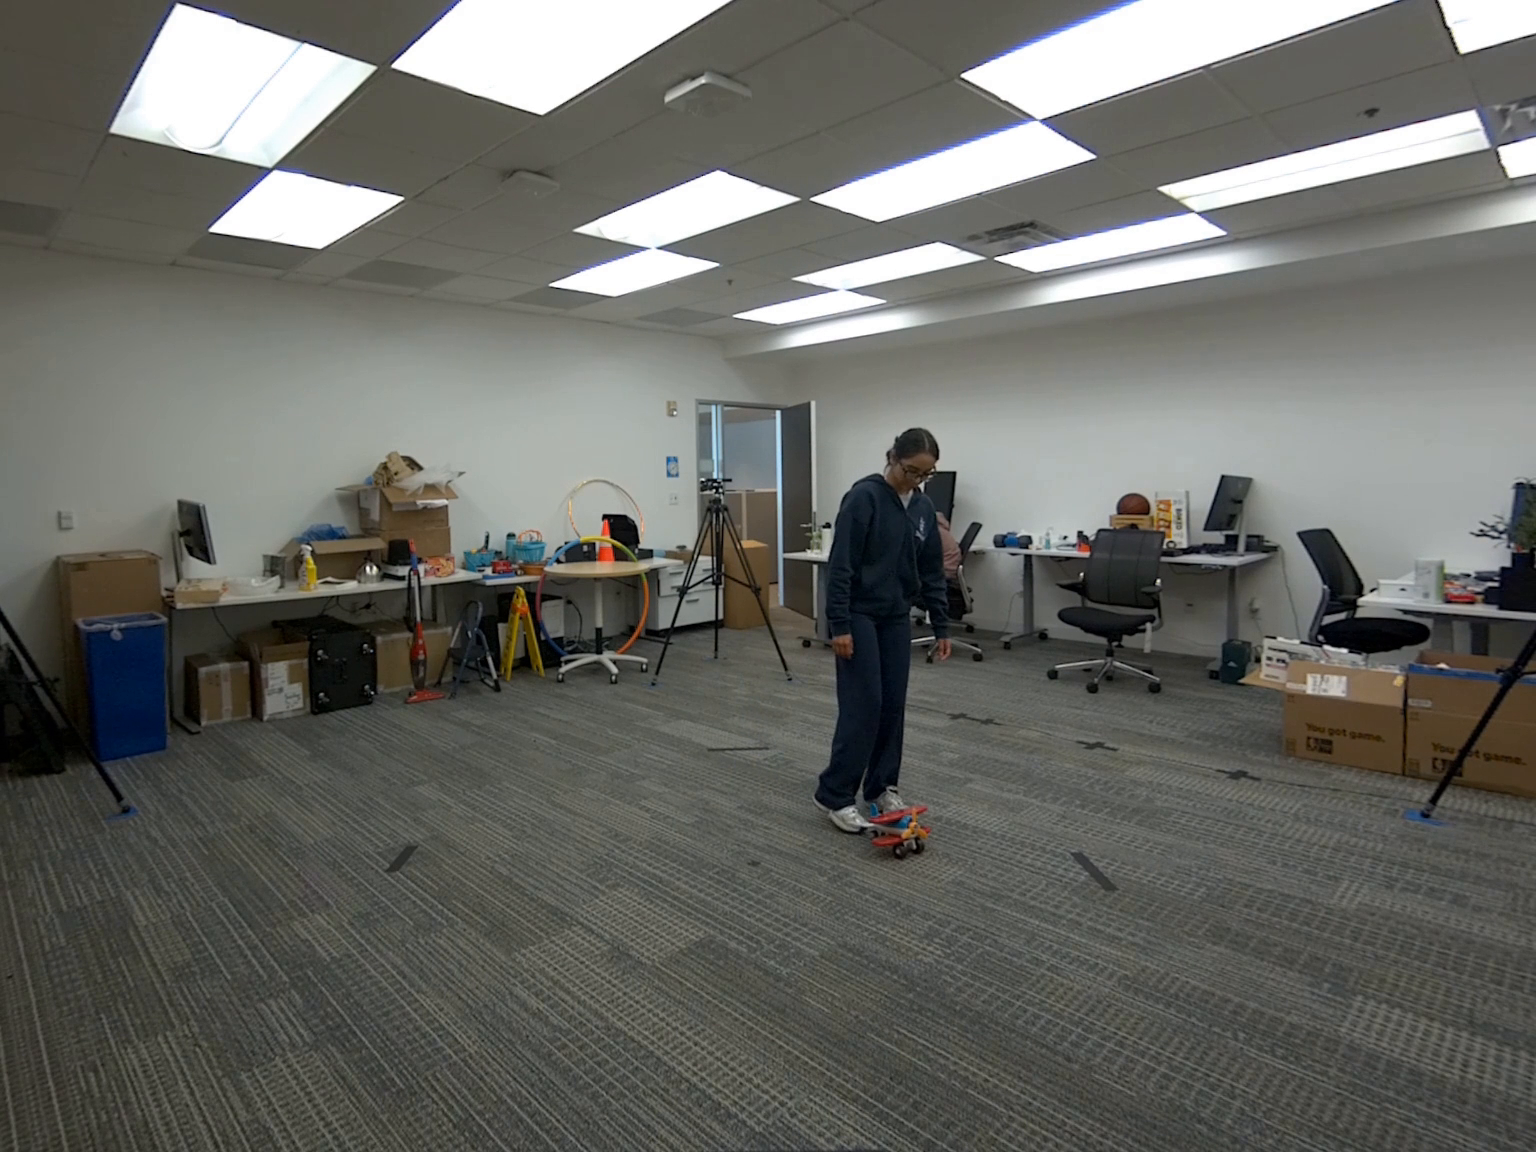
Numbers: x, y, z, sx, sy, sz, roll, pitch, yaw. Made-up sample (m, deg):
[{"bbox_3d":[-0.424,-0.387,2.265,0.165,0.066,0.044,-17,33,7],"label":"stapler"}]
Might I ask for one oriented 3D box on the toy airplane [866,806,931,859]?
[{"bbox_3d":[0.463,0.949,3.204,0.266,0.156,0.245,3,7,31],"label":"toy airplane"}]
